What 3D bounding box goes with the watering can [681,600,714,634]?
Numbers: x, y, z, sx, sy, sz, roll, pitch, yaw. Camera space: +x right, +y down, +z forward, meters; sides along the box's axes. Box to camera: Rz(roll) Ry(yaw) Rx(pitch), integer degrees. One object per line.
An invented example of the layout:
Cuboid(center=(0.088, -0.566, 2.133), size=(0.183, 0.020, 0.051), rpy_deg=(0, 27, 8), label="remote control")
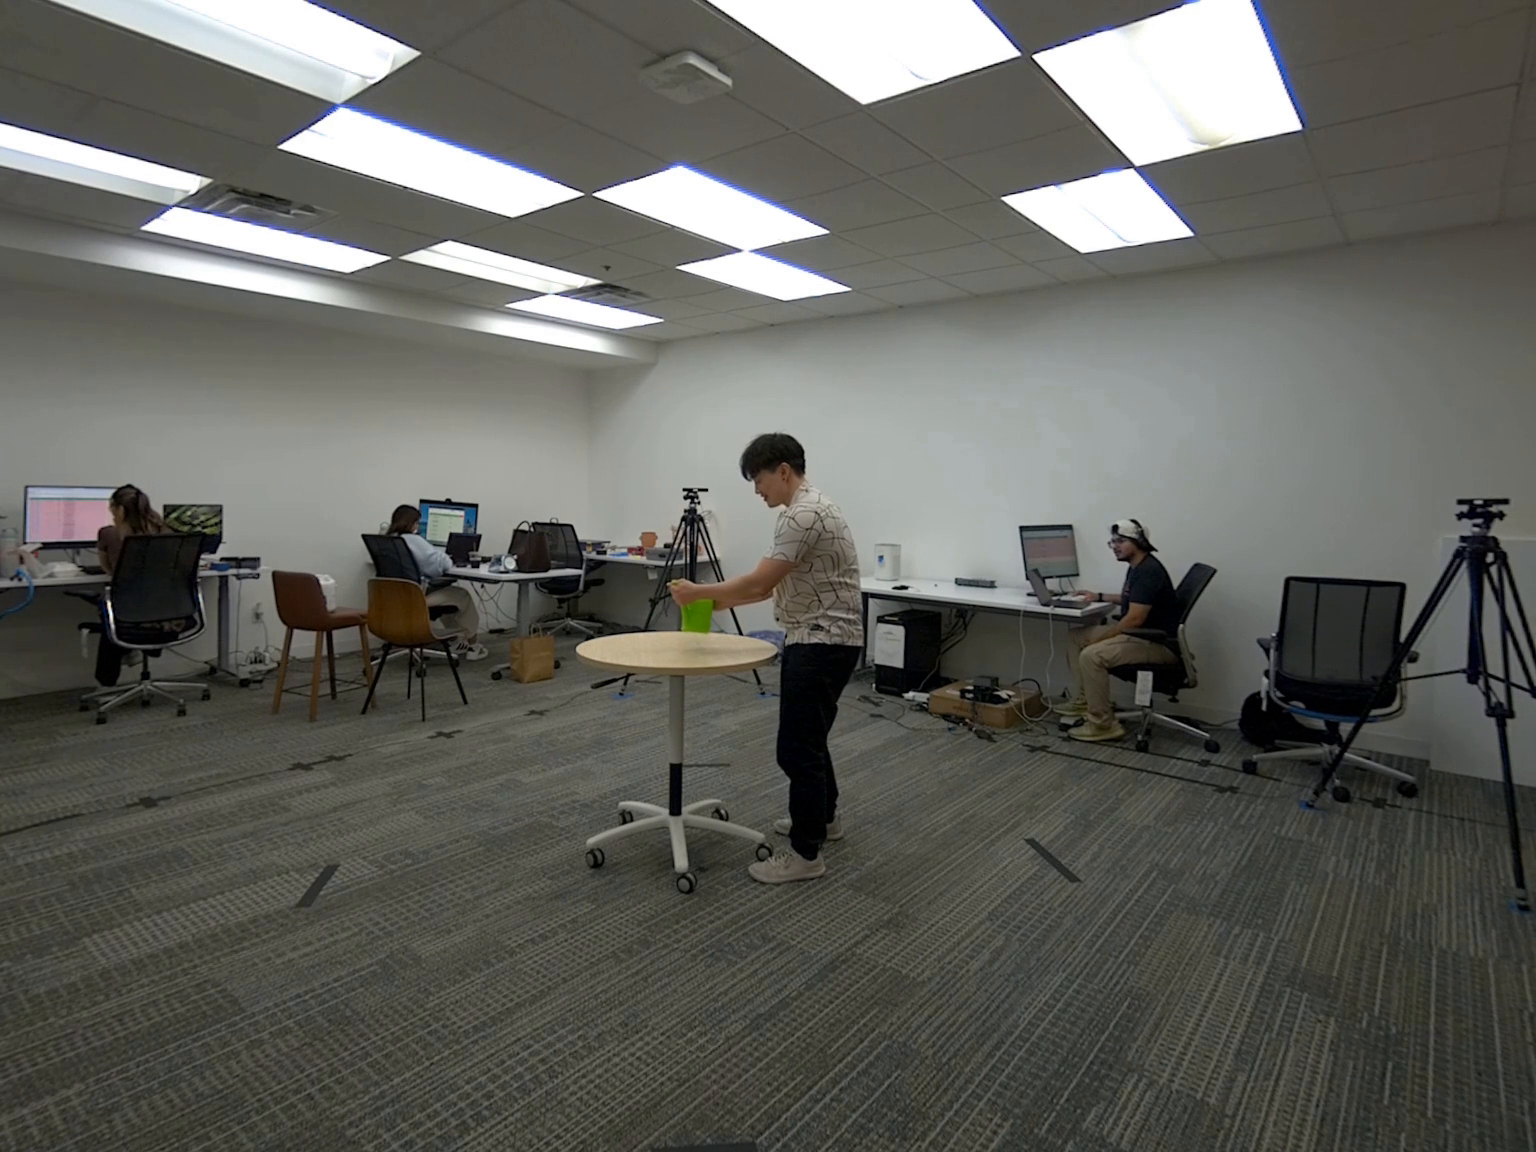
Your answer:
Cuboid(center=(-0.301, 0.120, 3.182), size=(0.101, 0.178, 0.268), rpy_deg=(-4, -11, 42), label="watering can")
